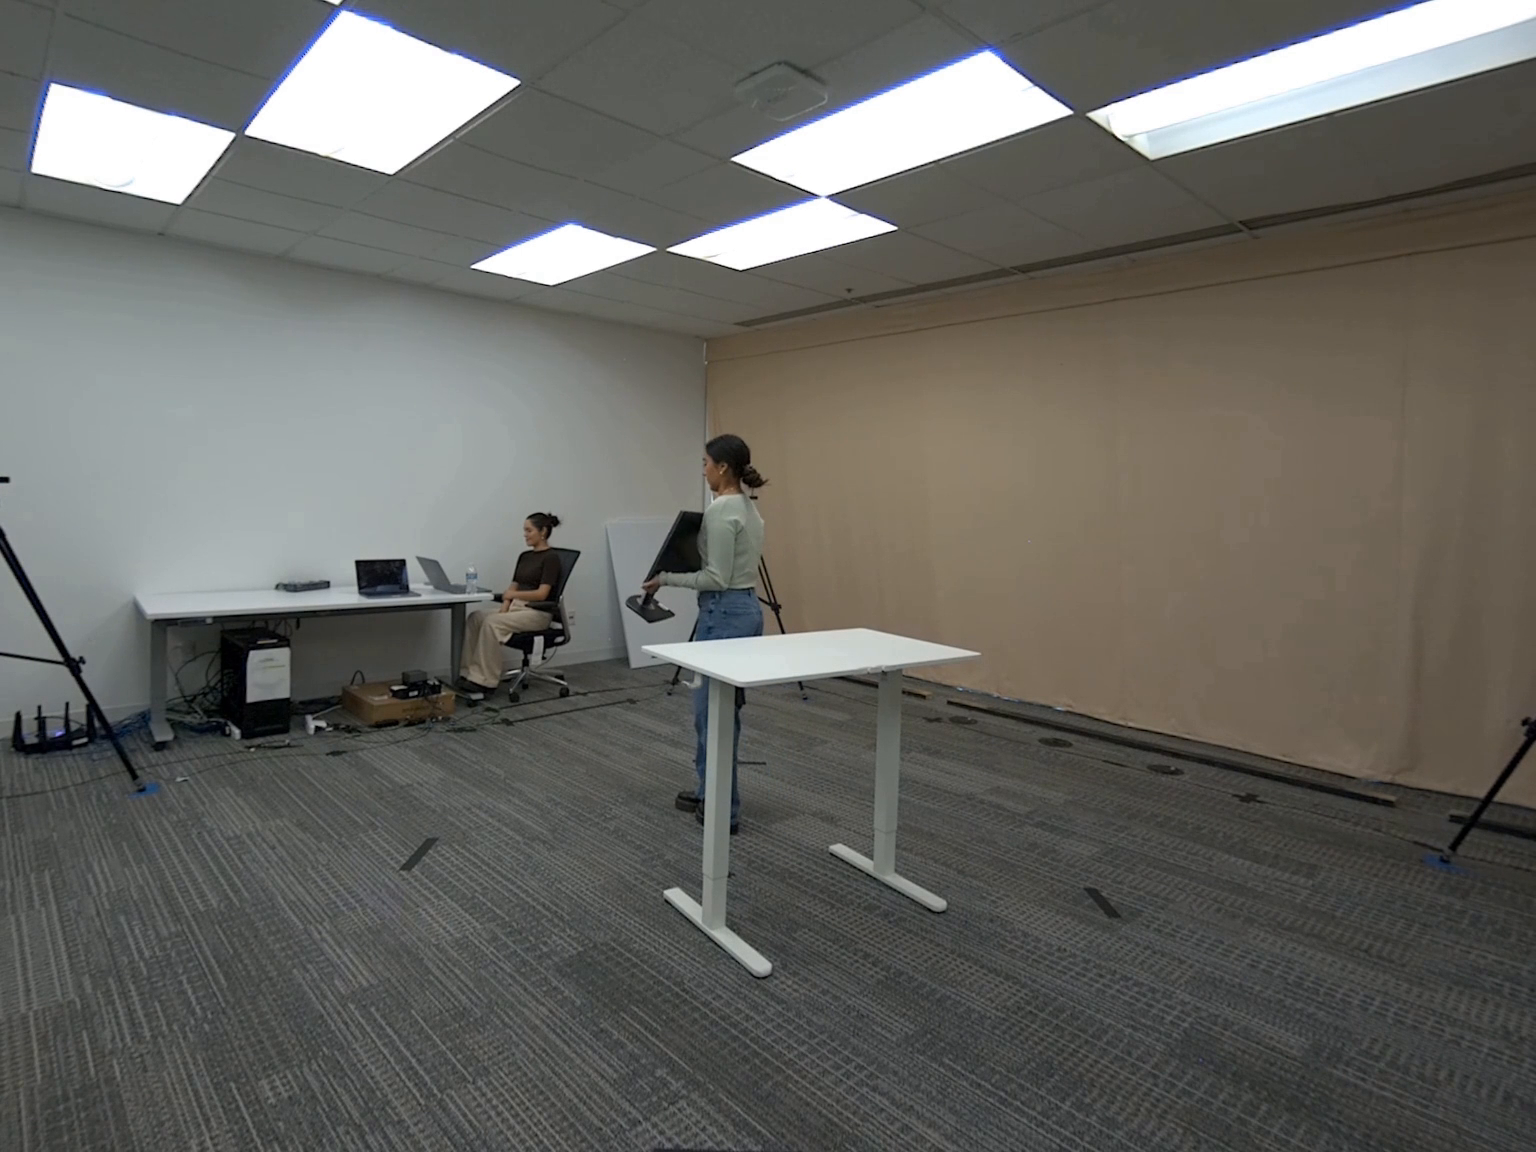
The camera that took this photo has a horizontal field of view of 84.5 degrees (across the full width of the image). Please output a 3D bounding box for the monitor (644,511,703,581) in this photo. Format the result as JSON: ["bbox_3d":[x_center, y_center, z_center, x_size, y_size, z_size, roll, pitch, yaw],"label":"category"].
[{"bbox_3d":[-0.399,-0.055,3.659,0.190,0.521,0.532,38,13,11],"label":"monitor"}]
